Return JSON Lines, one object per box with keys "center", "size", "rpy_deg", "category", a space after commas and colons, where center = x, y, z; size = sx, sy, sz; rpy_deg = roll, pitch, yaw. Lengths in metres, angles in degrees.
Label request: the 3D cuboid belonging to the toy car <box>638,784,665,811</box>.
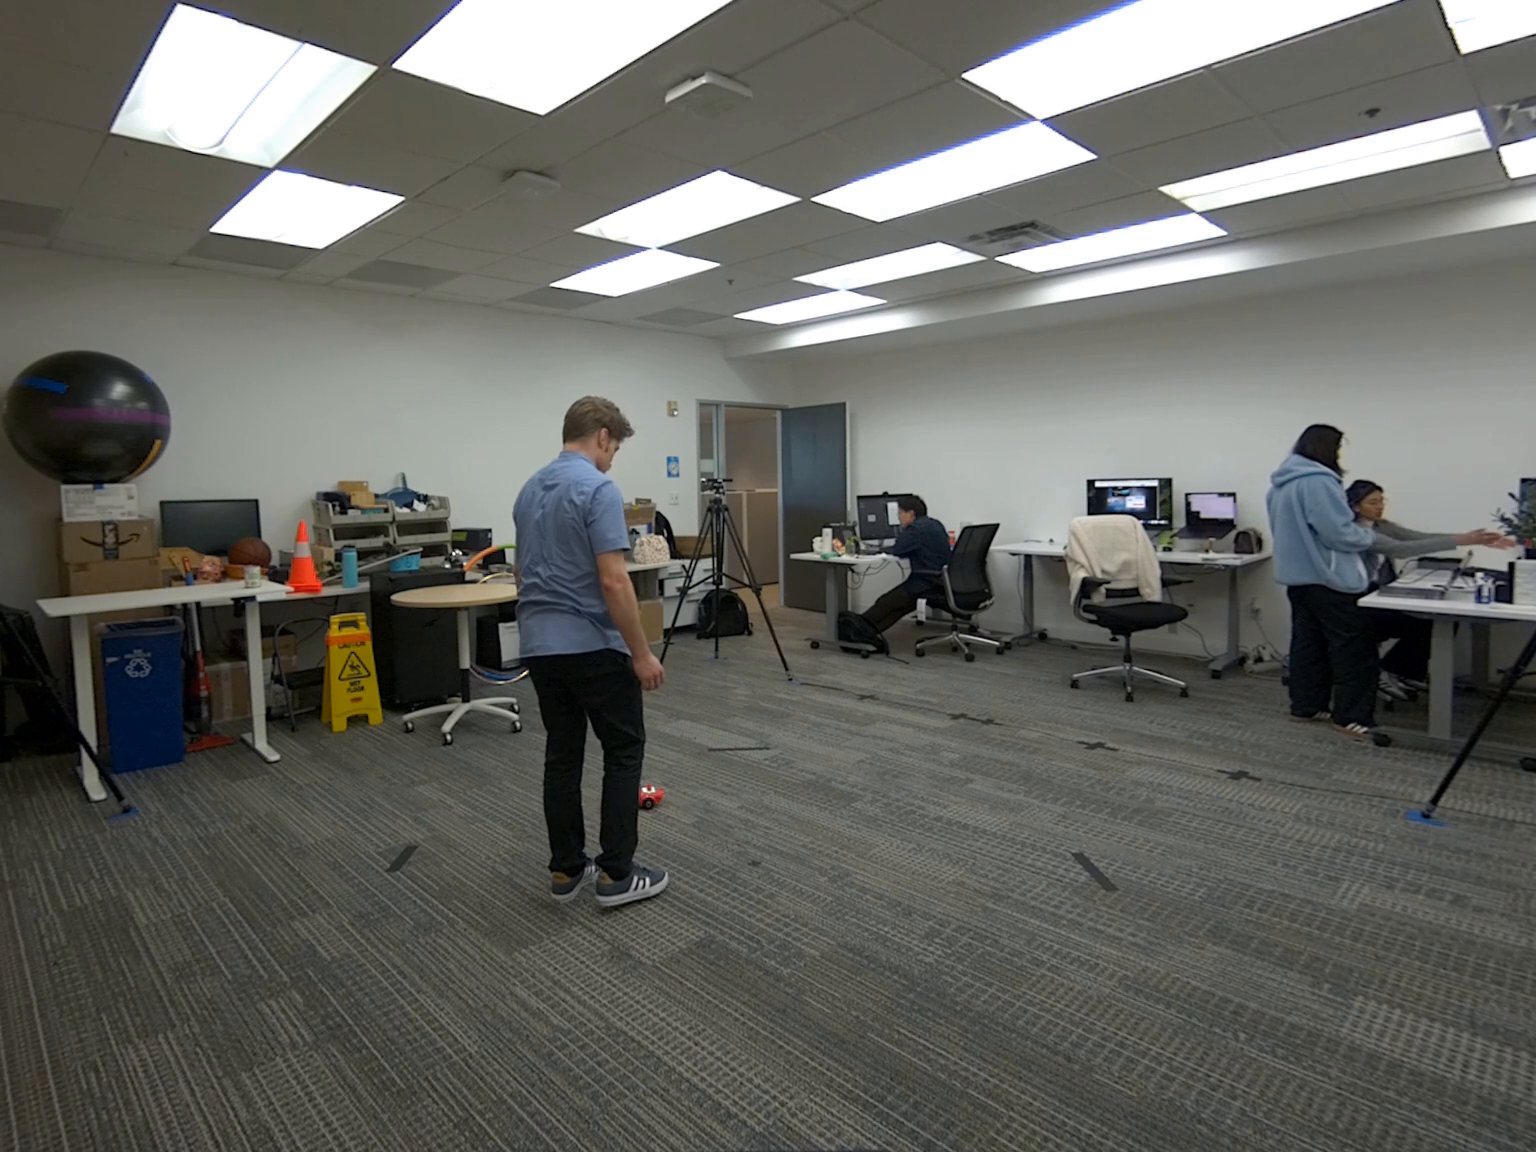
{"center": [-0.565, 0.957, 3.680], "size": [0.253, 0.082, 0.132], "rpy_deg": [-14, 8, -9], "category": "toy car"}
